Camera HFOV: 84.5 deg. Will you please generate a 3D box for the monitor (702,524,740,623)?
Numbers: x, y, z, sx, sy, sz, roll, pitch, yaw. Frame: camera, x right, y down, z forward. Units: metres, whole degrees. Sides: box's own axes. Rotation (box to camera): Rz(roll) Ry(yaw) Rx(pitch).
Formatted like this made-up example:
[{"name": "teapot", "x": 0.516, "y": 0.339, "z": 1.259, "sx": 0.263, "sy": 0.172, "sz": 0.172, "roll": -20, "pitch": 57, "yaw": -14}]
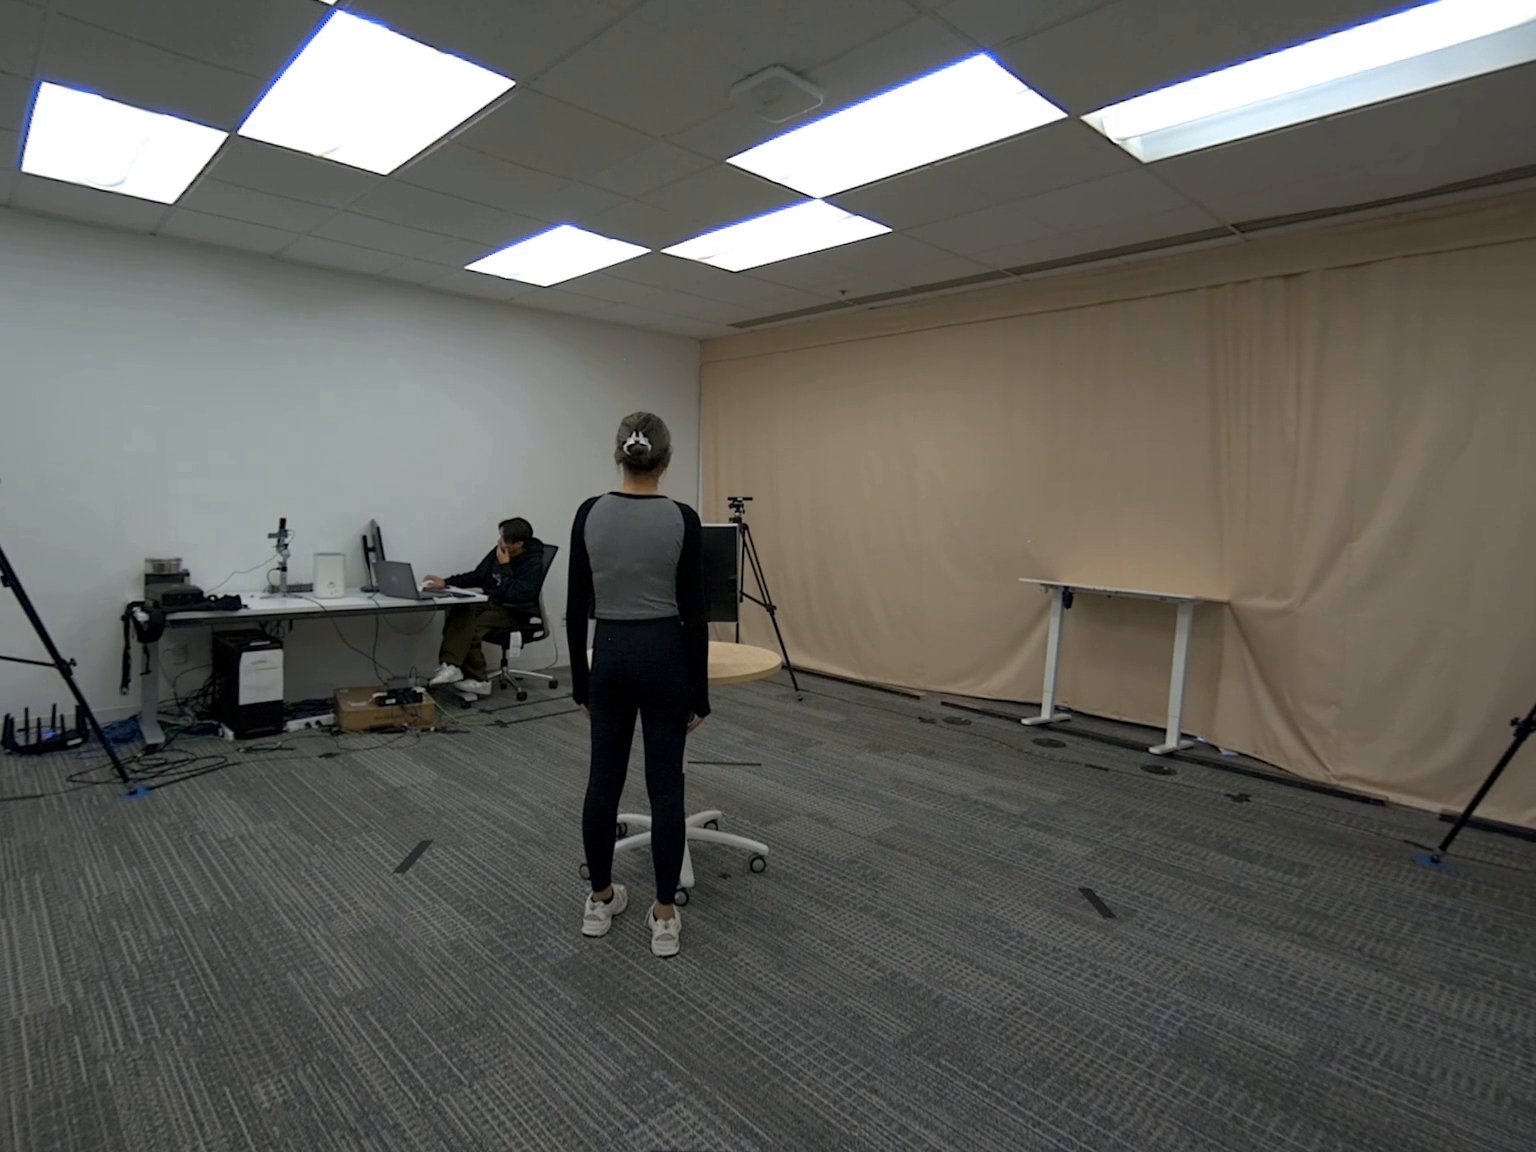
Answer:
[{"name": "monitor", "x": -0.380, "y": 0.076, "z": 2.993, "sx": 0.541, "sy": 0.522, "sz": 0.187, "roll": 1, "pitch": 2, "yaw": 4}]
